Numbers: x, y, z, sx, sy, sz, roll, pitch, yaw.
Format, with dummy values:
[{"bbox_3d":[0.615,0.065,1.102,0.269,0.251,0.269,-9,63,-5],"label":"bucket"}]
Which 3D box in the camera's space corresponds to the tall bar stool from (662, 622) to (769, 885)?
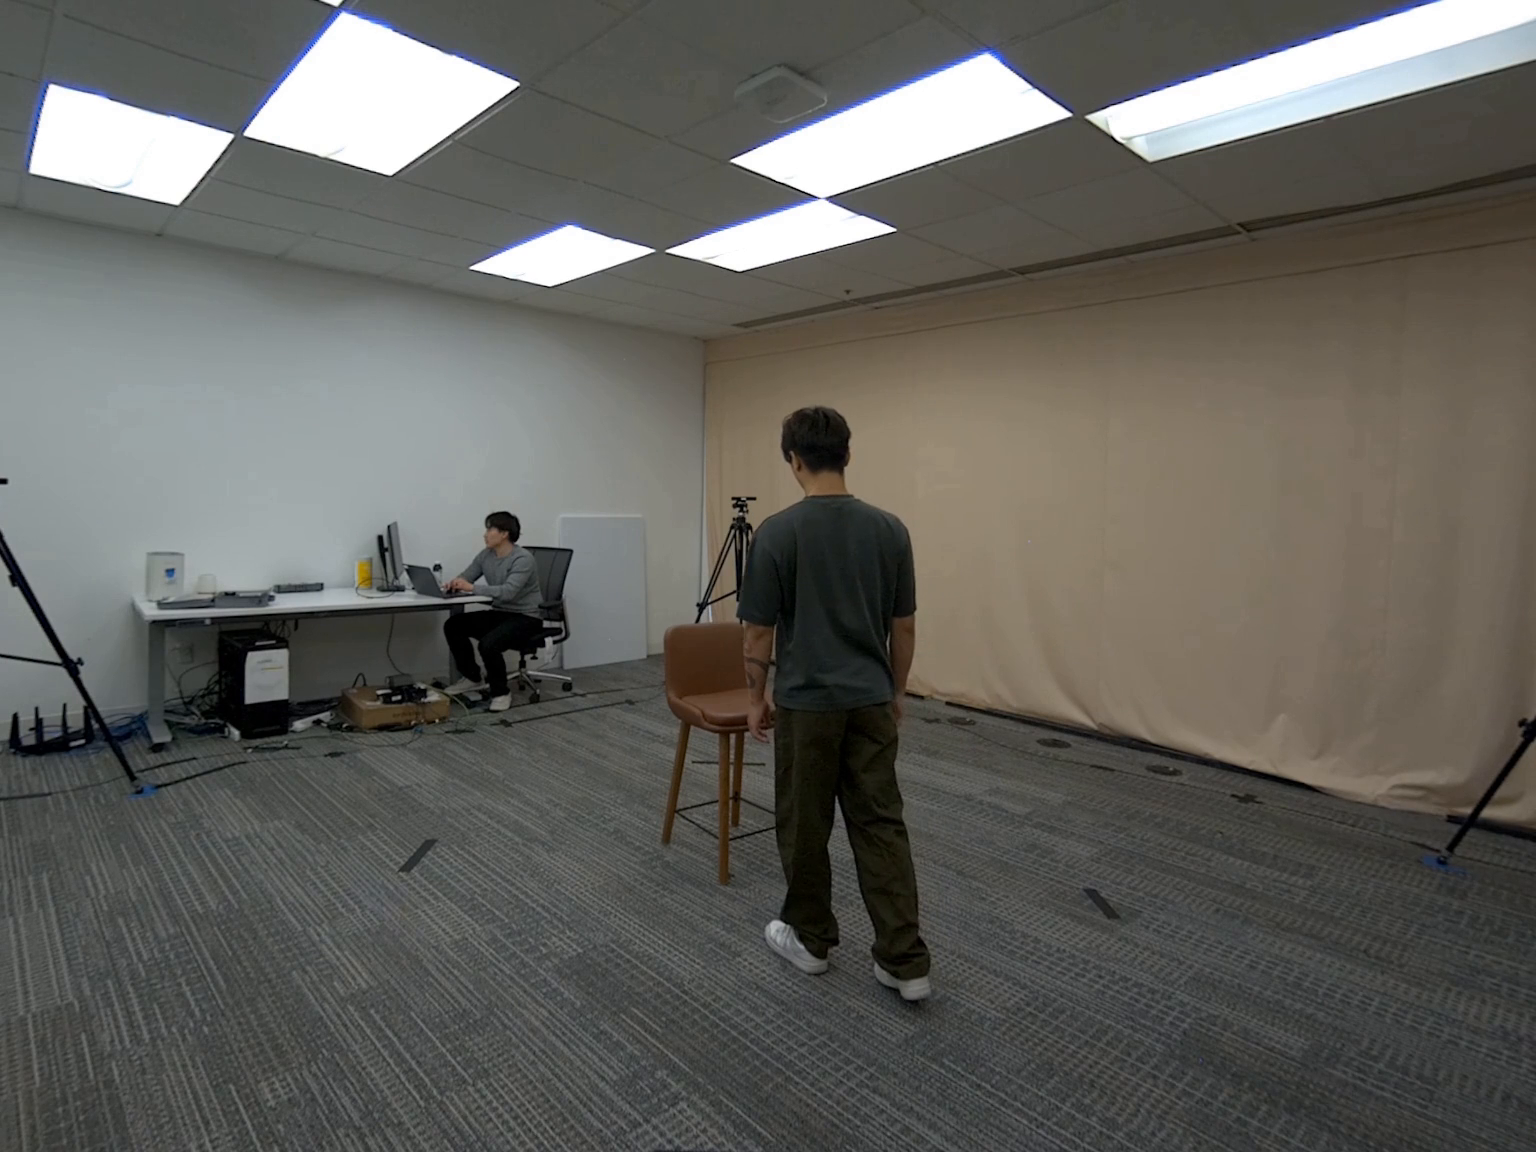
[{"bbox_3d":[-0.146,0.651,3.295,0.446,0.889,0.478,-1,2,-37],"label":"tall bar stool"}]
